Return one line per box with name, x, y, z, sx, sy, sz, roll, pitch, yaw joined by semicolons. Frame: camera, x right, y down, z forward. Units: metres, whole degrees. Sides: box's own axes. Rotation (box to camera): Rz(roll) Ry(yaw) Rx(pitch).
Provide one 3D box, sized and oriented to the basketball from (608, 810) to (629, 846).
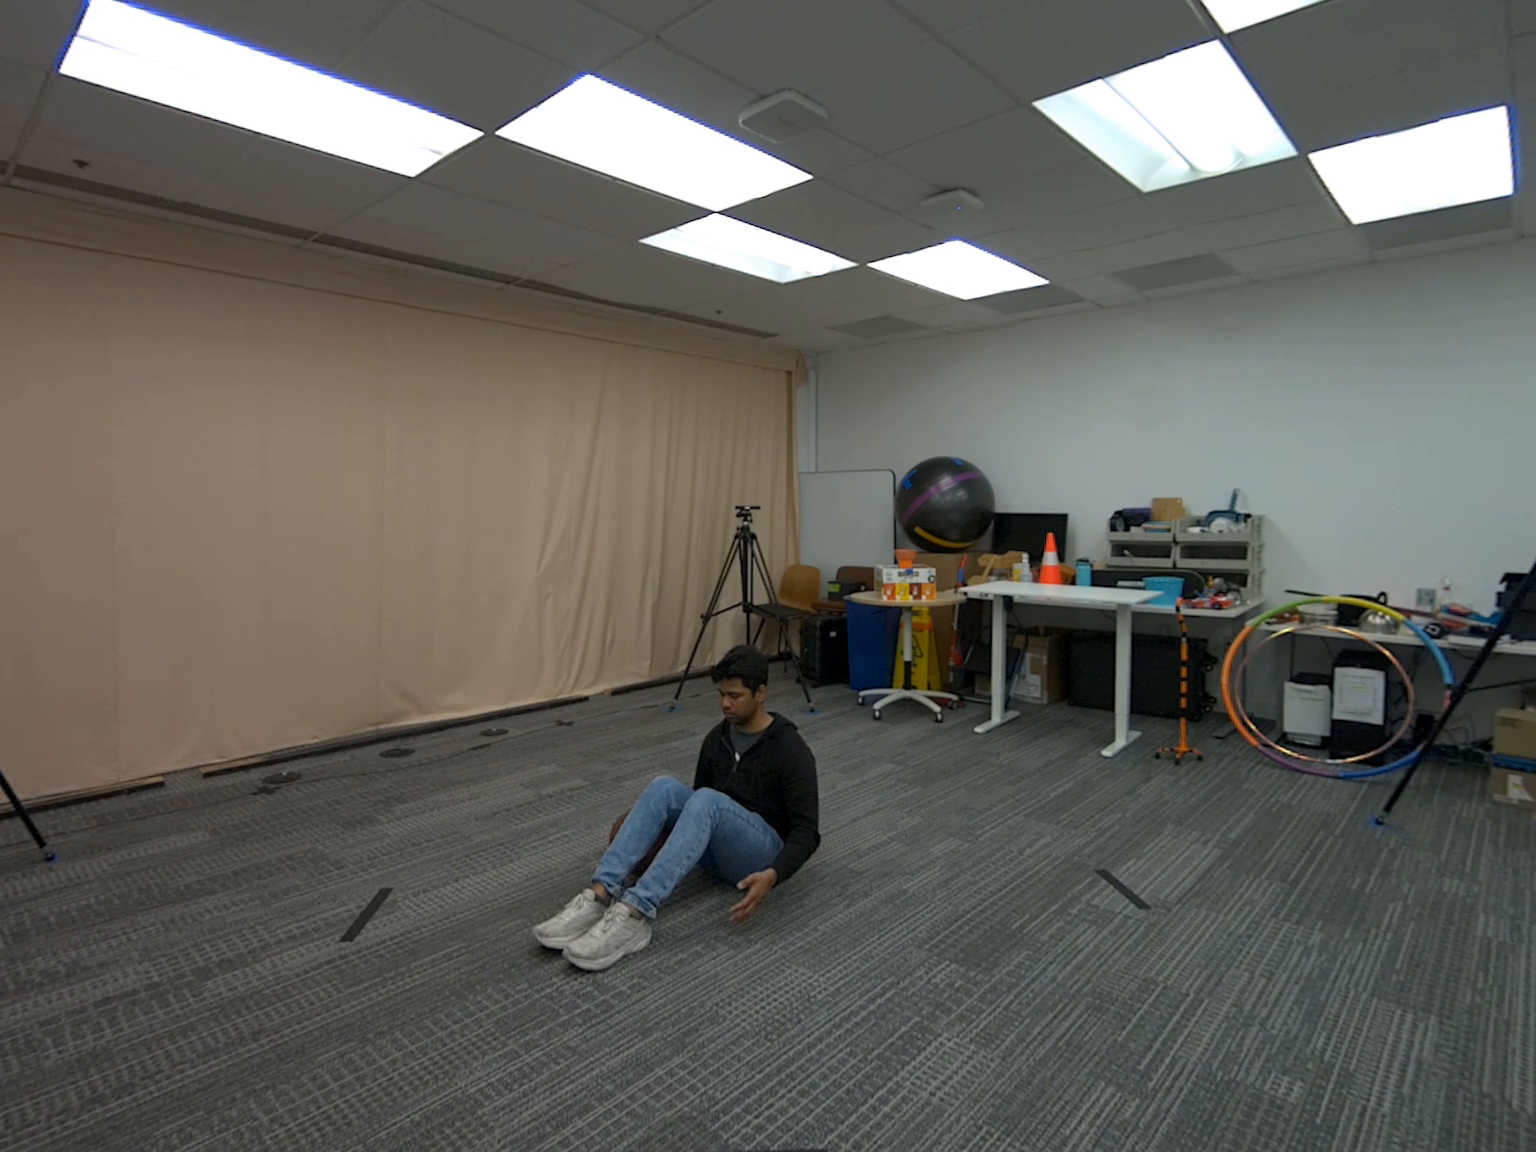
basketball;-0.477;0.975;3.098;0.236;0.235;0.237;0;4;-2
